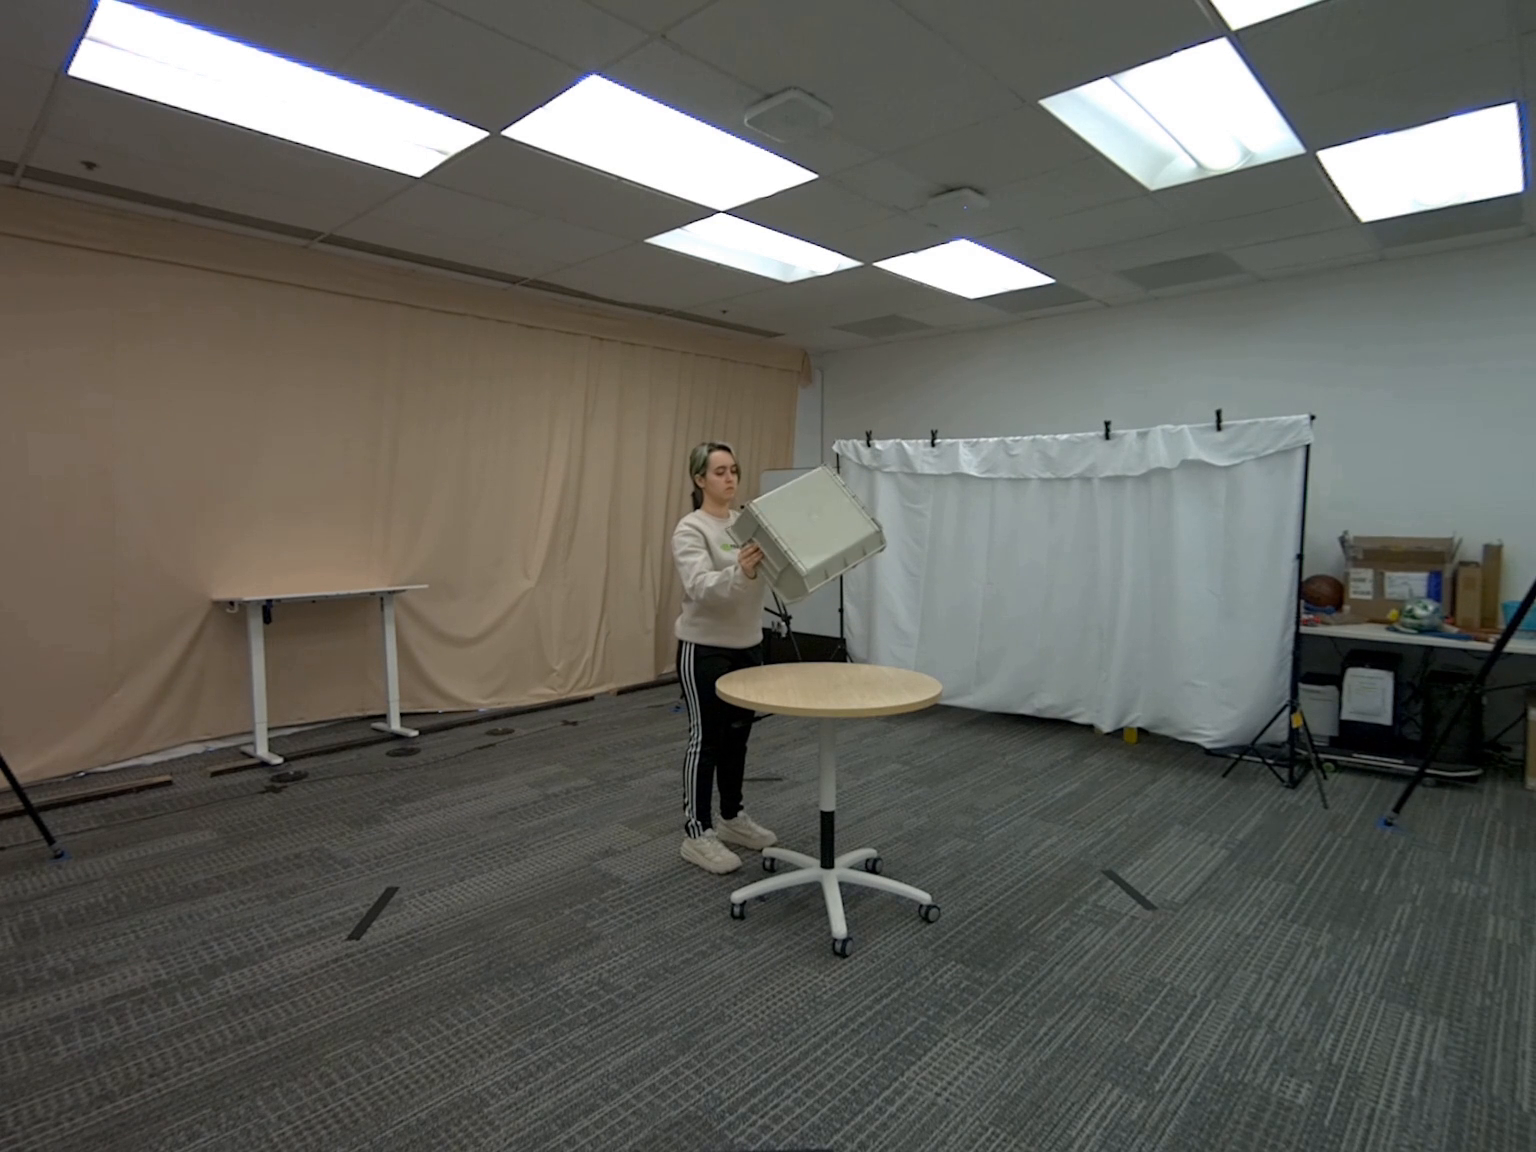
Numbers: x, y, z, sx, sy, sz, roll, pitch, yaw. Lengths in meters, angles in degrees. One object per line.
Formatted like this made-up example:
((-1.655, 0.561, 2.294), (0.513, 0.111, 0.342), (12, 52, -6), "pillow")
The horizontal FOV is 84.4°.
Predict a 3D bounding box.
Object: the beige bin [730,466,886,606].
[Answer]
((0.143, -0.142, 2.932), (0.415, 0.384, 0.189), (-29, -17, -33), "beige bin")
